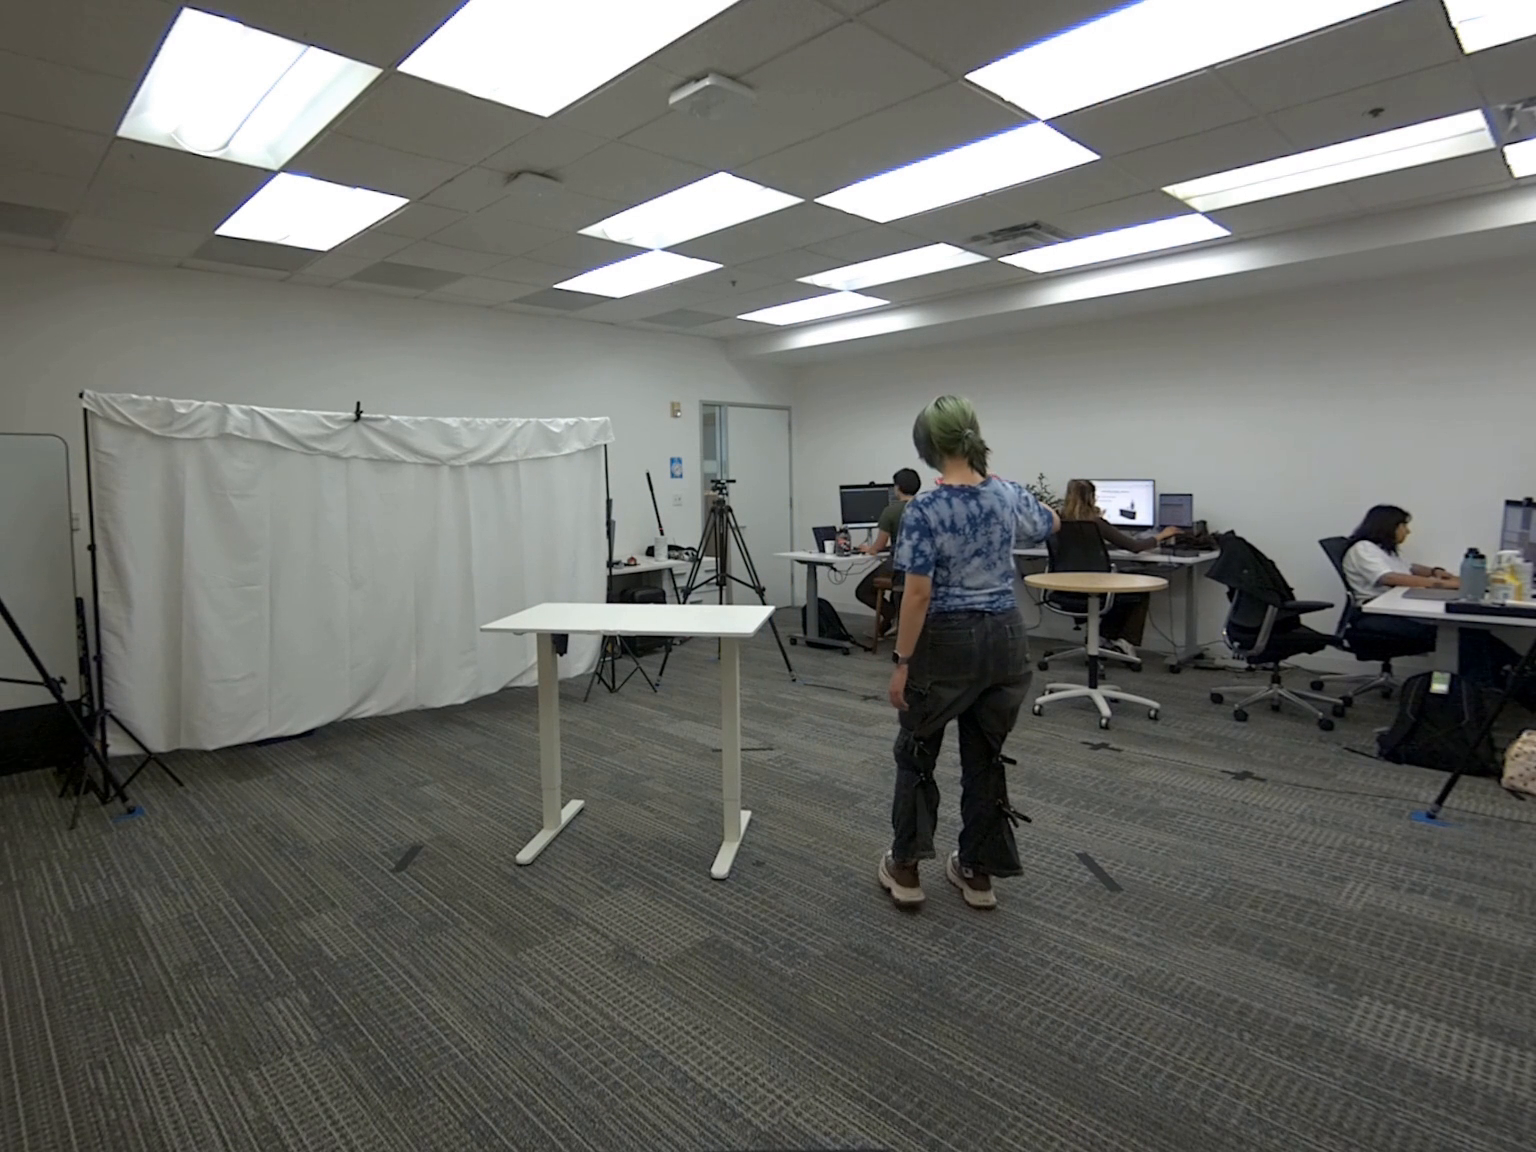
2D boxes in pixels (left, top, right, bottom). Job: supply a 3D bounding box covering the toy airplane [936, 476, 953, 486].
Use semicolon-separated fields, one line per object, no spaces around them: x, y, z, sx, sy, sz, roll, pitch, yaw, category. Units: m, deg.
0.800;-0.303;3.251;0.246;0.154;0.268;-10;16;-29;toy airplane
